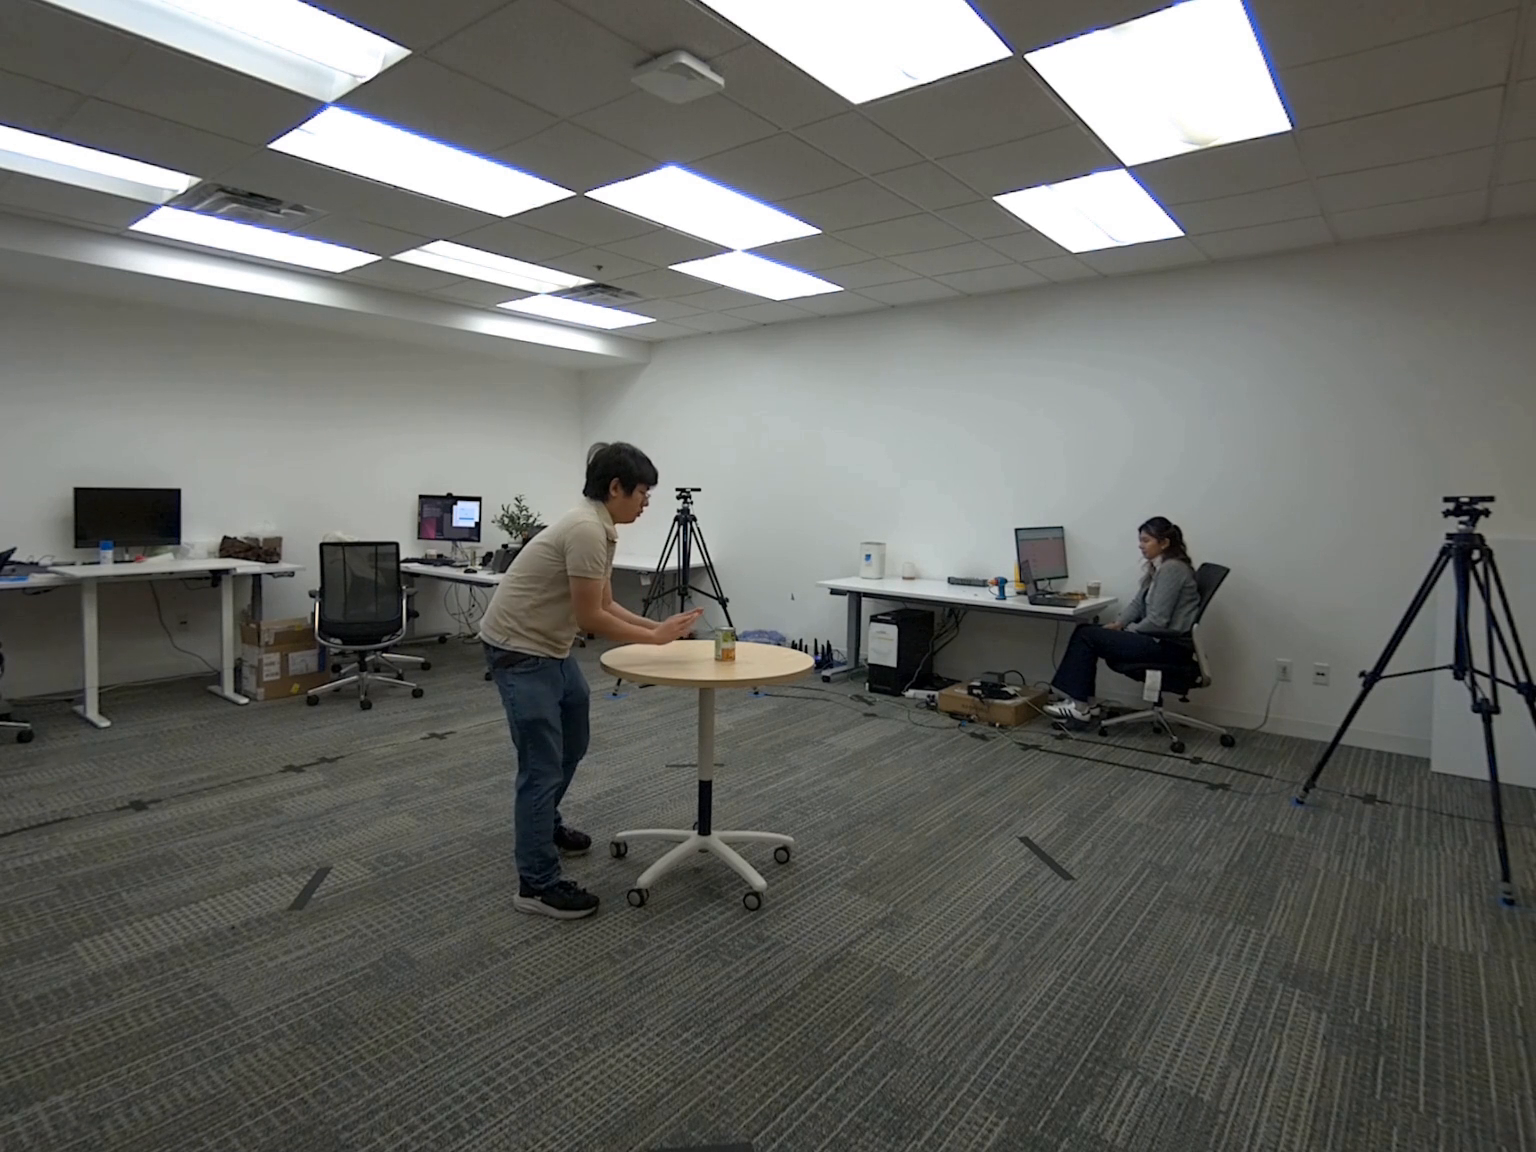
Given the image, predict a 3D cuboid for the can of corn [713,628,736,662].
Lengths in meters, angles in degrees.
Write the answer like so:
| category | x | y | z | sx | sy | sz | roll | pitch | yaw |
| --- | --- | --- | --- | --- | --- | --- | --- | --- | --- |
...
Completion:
| category | x | y | z | sx | sy | sz | roll | pitch | yaw |
| --- | --- | --- | --- | --- | --- | --- | --- | --- | --- |
| can of corn | -0.169 | 0.241 | 3.013 | 0.074 | 0.111 | 0.074 | 0 | 4 | -2 |
